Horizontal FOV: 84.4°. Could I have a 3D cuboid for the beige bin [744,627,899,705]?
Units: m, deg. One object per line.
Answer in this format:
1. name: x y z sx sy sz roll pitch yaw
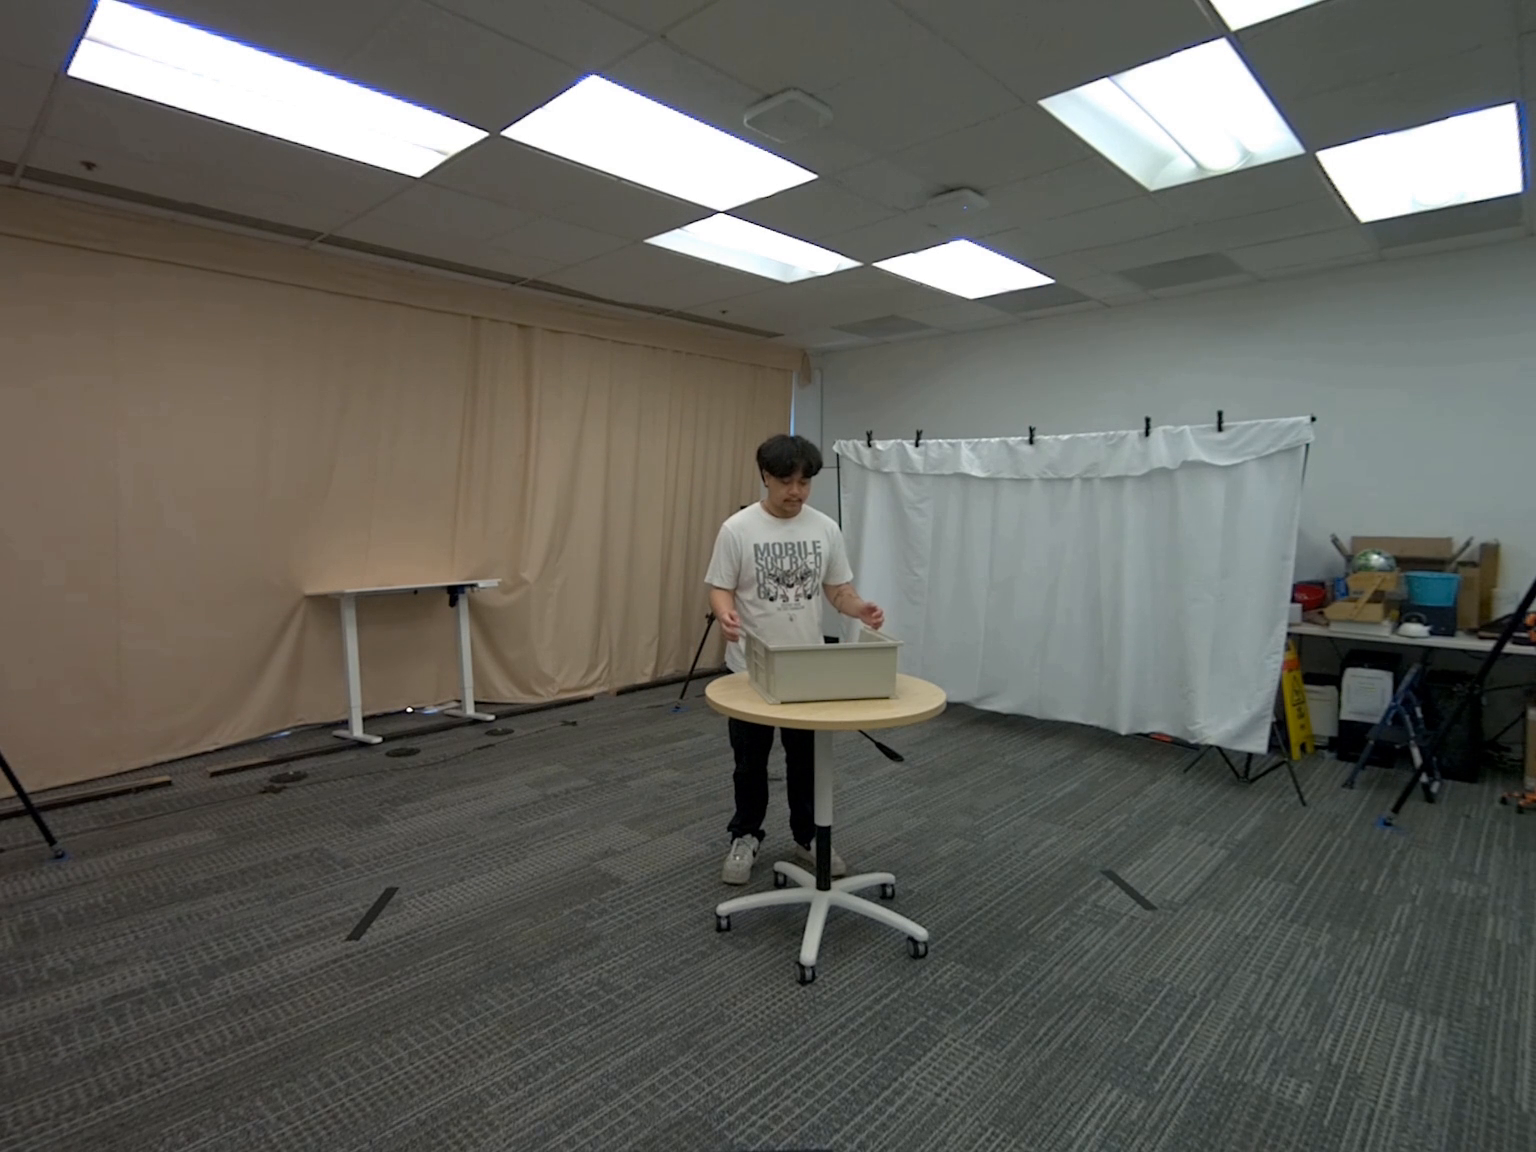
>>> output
1. beige bin: 0.167 0.278 2.721 0.417 0.188 0.383 -1 6 -12
